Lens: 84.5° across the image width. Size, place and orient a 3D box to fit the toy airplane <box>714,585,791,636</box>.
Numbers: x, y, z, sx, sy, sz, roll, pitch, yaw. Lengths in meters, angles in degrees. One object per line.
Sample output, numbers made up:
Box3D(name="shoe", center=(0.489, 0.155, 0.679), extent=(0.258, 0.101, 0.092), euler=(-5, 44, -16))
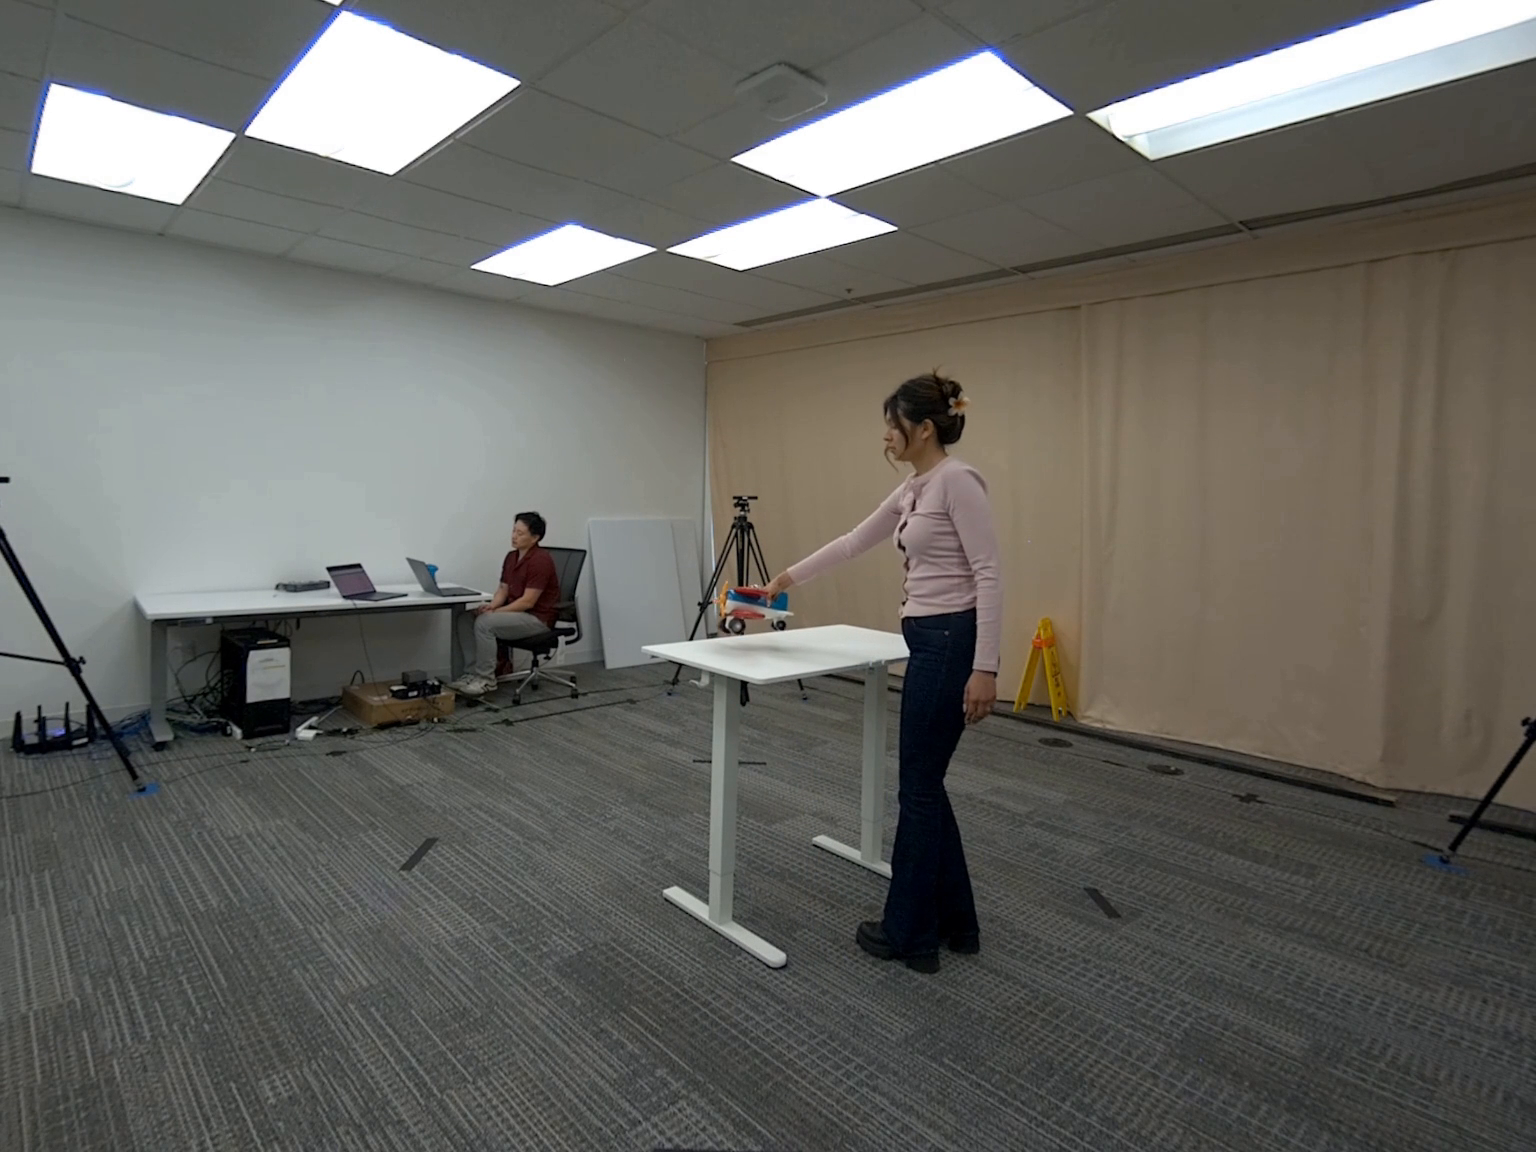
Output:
Box3D(name="toy airplane", center=(-0.073, 0.112, 2.850), extent=(0.256, 0.157, 0.253), euler=(-5, -3, 37))
